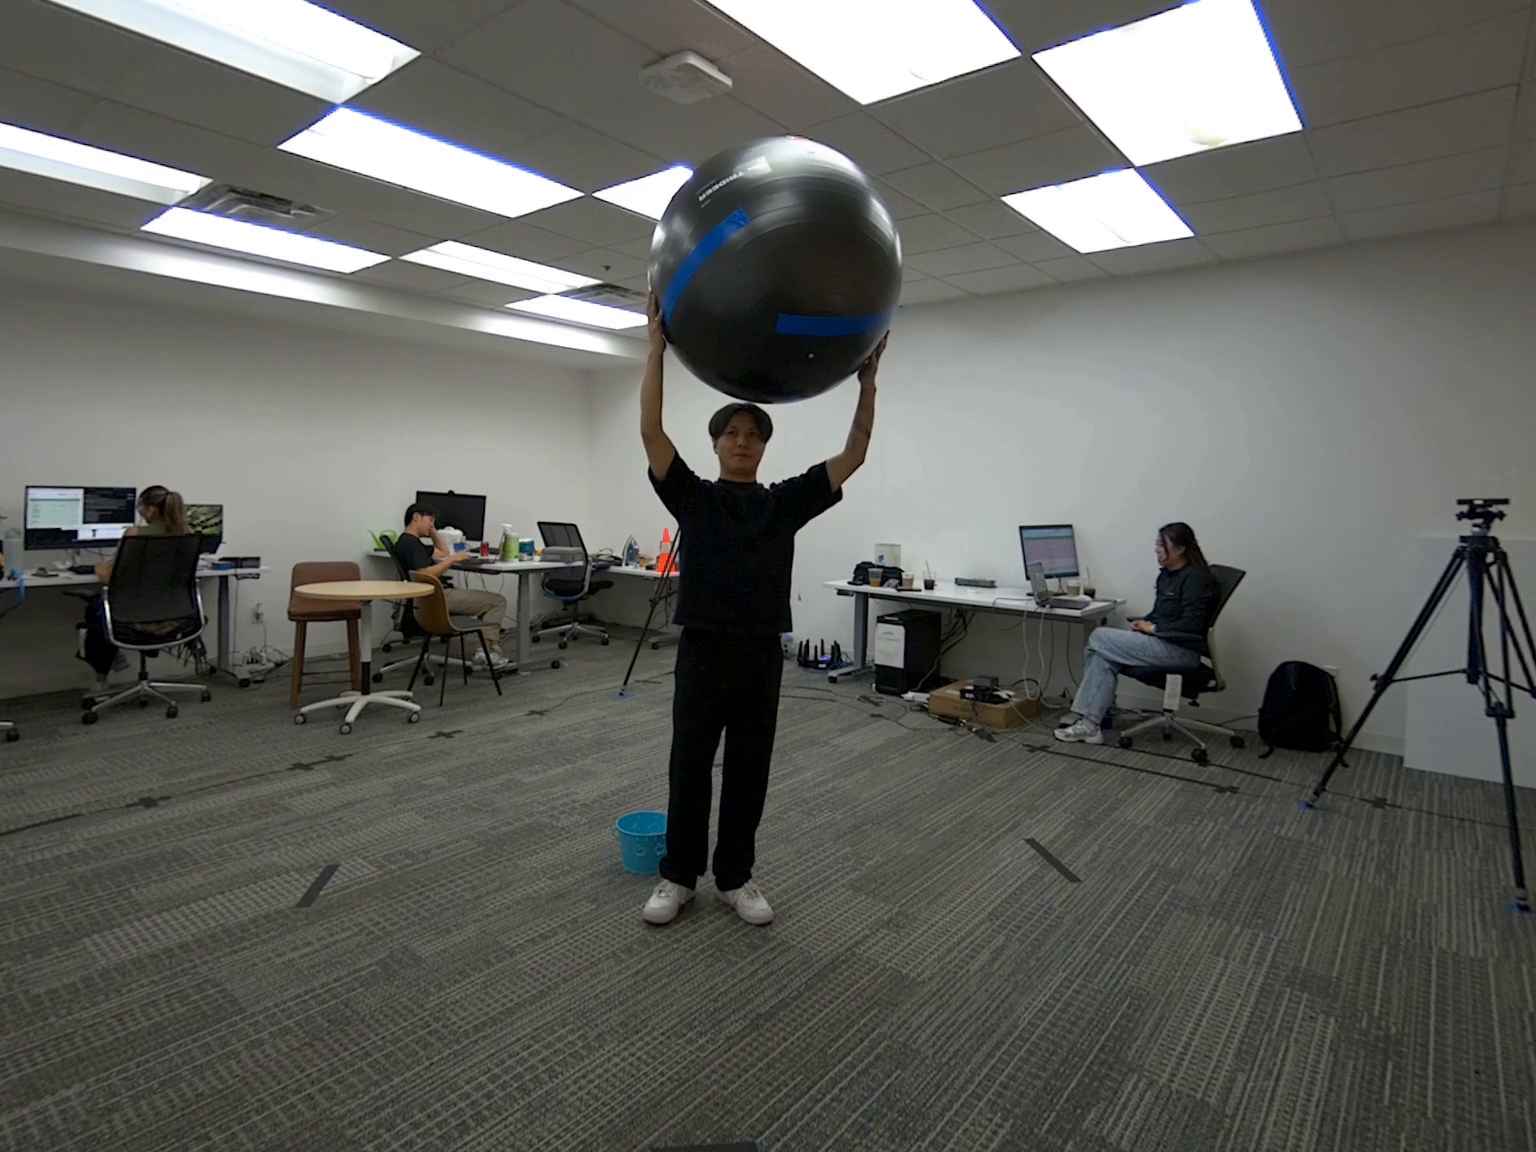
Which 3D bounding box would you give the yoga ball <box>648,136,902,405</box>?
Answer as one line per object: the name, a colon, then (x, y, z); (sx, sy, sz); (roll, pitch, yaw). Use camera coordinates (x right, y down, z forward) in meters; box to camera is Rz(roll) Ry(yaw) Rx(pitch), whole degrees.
yoga ball: (0.005, -0.903, 2.555); (0.757, 0.755, 0.762); (1, 4, -2)
